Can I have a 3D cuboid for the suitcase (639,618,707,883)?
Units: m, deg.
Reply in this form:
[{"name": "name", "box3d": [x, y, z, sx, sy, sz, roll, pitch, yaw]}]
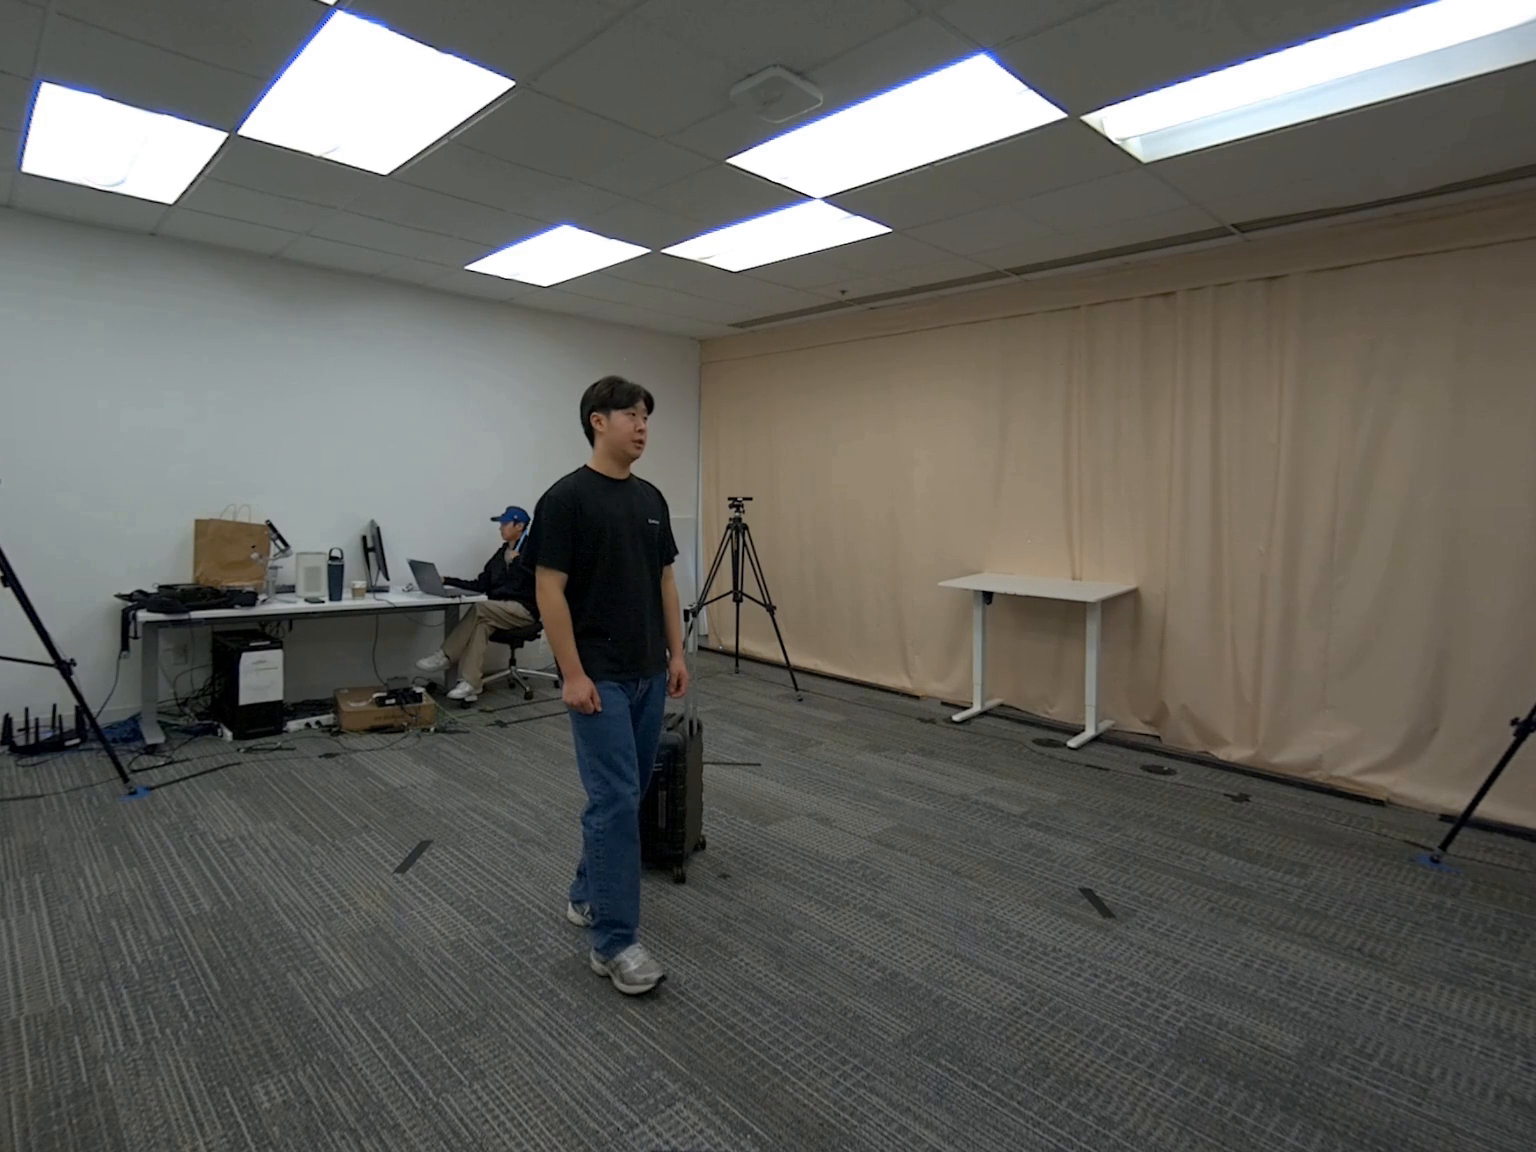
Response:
[{"name": "suitcase", "box3d": [-0.412, 0.615, 3.214, 0.259, 0.978, 0.381, -1, 1, 9]}]
